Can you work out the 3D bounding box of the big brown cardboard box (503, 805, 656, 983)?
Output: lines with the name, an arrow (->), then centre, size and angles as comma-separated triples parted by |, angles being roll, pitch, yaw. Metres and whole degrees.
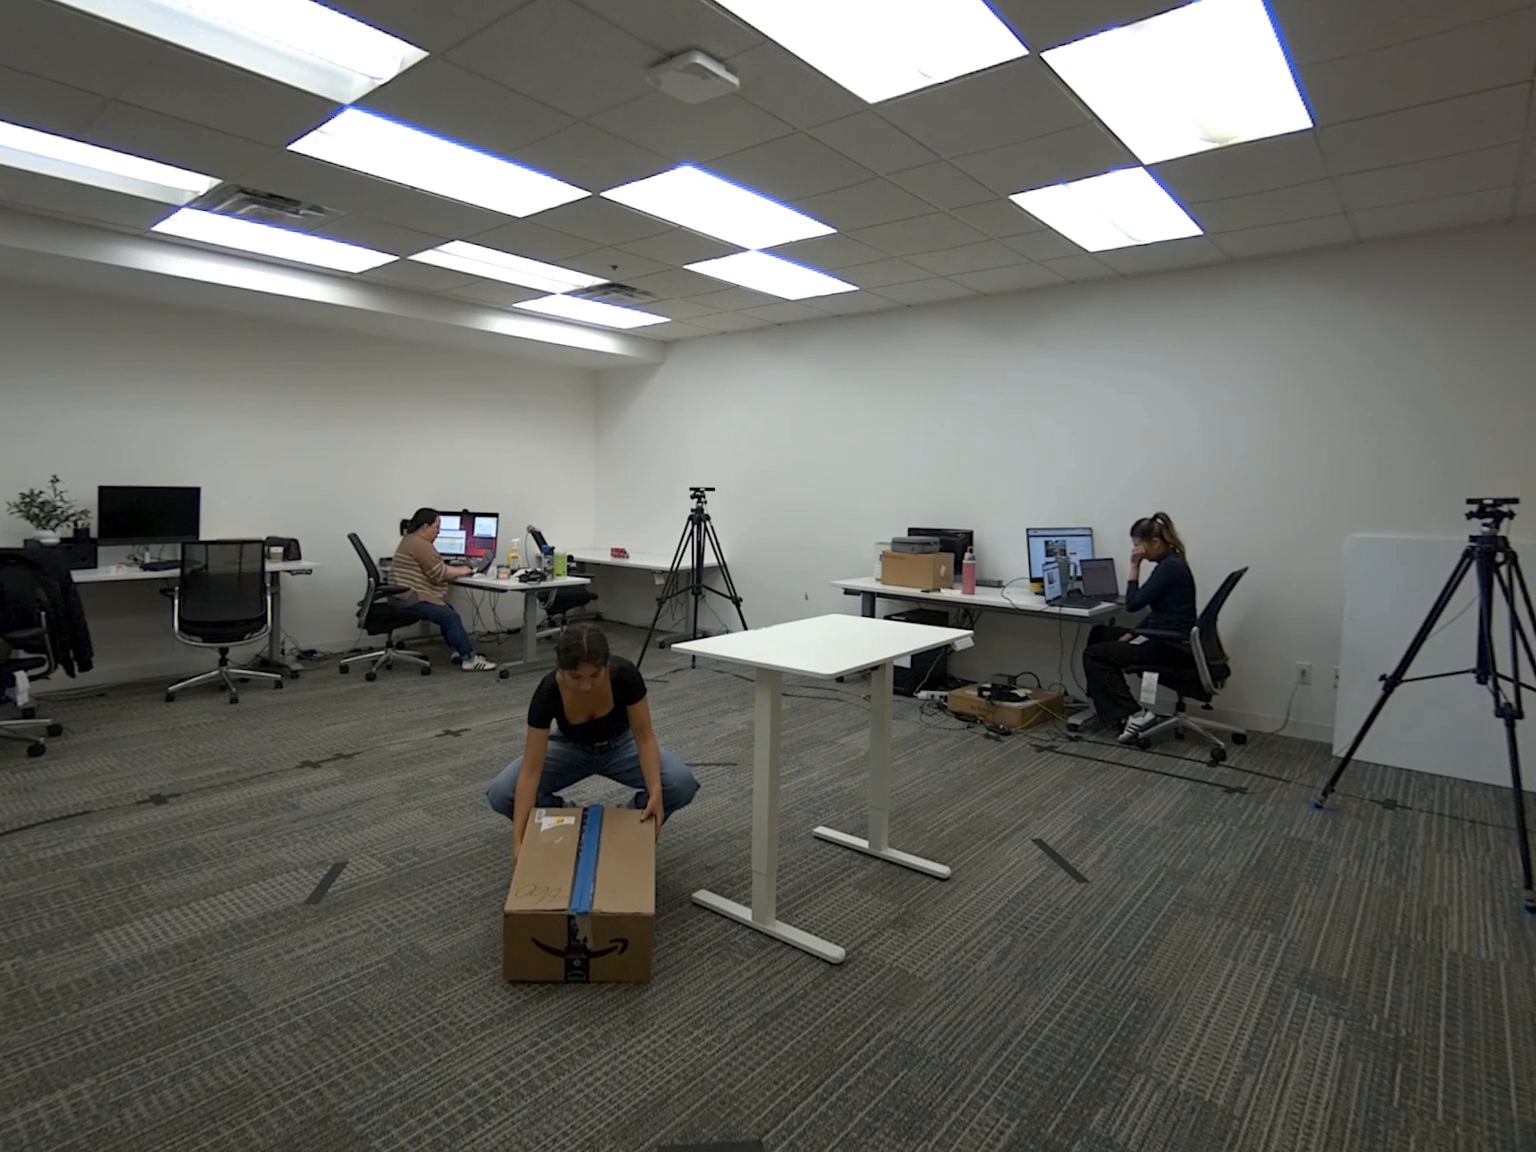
big brown cardboard box -> -0.567, 0.958, 2.625 | 0.415, 0.230, 0.600 | 1, 13, -7
